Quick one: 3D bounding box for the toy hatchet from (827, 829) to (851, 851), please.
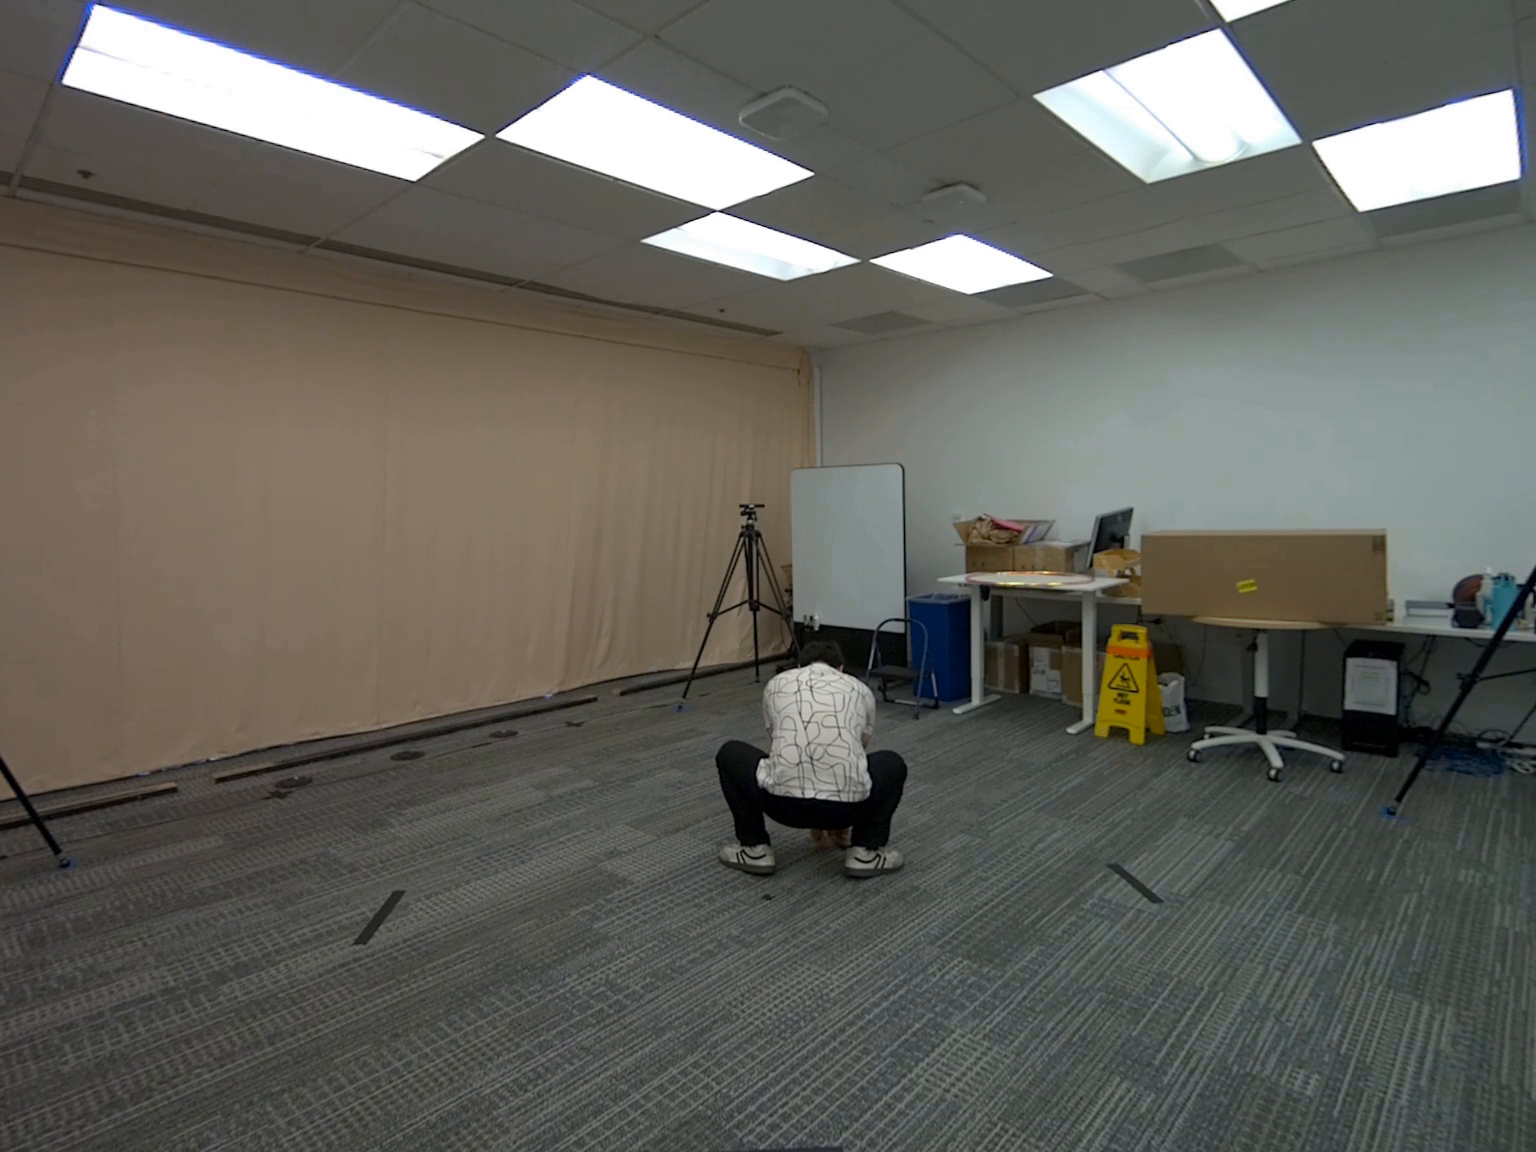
[{"bbox_3d":[0.316,1.076,3.511,0.128,0.029,0.276,3,3,-20],"label":"toy hatchet"}]
